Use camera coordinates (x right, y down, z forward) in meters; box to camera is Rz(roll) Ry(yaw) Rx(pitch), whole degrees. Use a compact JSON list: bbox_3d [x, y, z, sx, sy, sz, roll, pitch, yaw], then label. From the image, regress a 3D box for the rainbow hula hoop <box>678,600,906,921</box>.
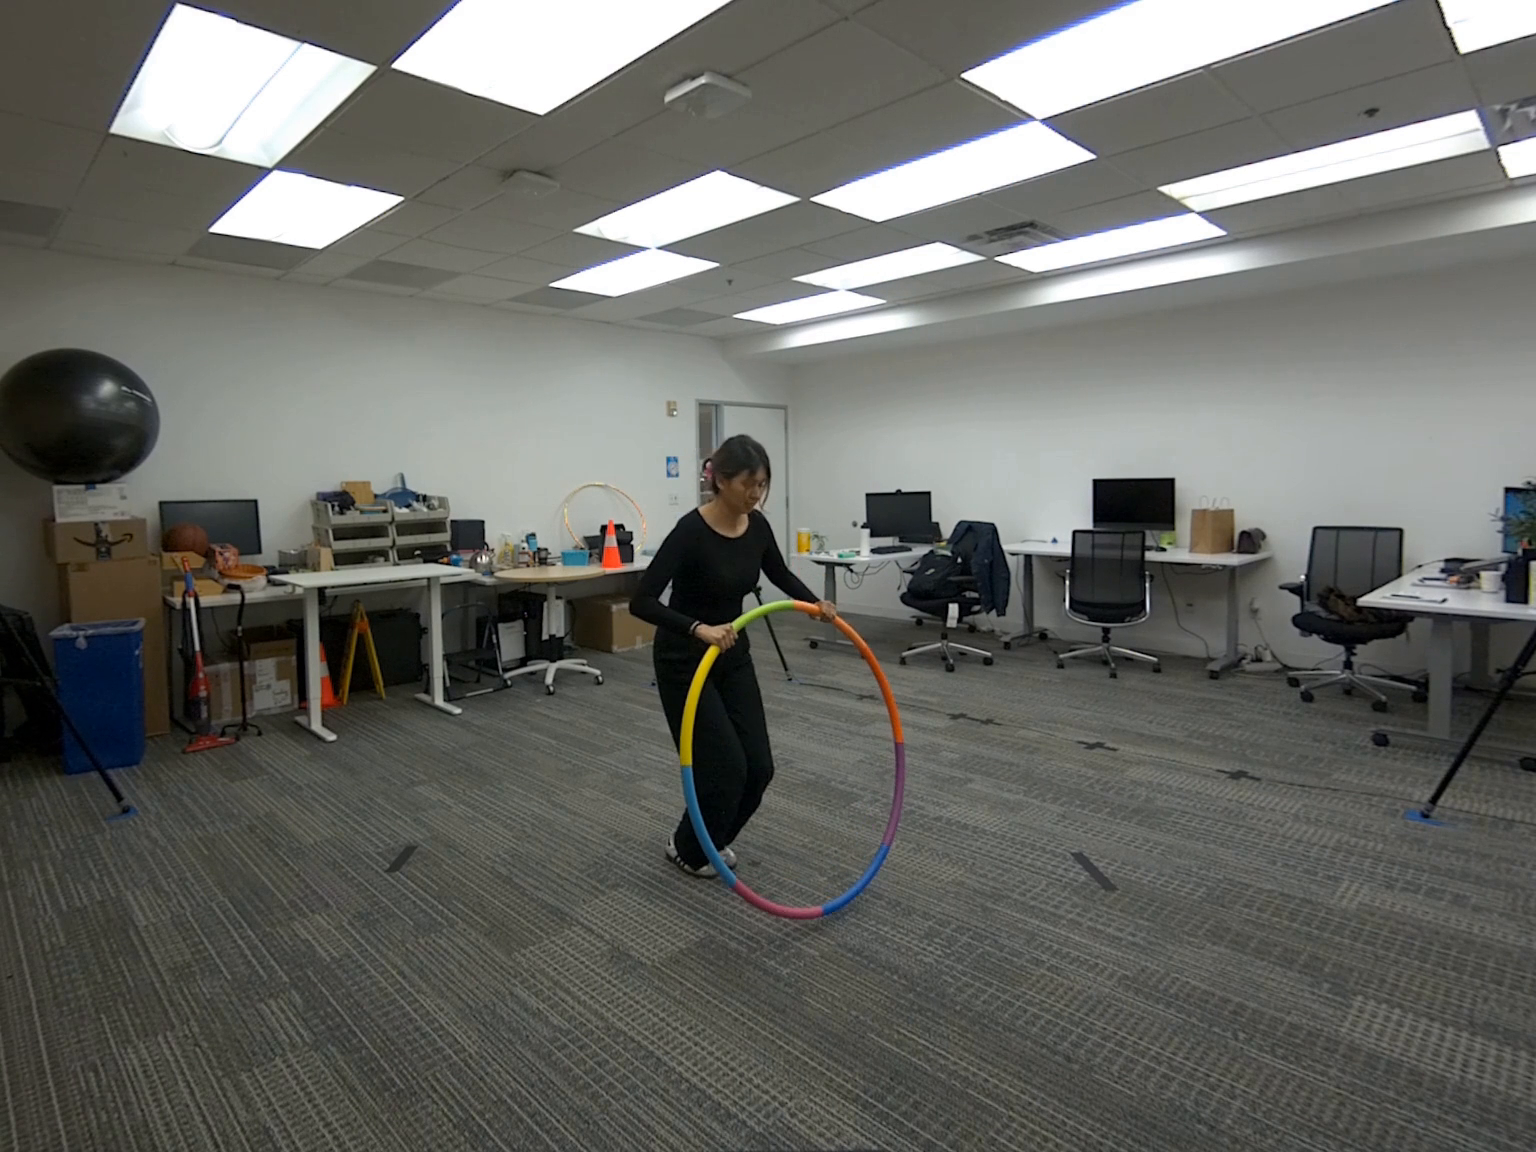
[{"bbox_3d":[0.107,0.555,2.785,0.953,0.987,0.036,-5,-10,-41],"label":"rainbow hula hoop"}]
